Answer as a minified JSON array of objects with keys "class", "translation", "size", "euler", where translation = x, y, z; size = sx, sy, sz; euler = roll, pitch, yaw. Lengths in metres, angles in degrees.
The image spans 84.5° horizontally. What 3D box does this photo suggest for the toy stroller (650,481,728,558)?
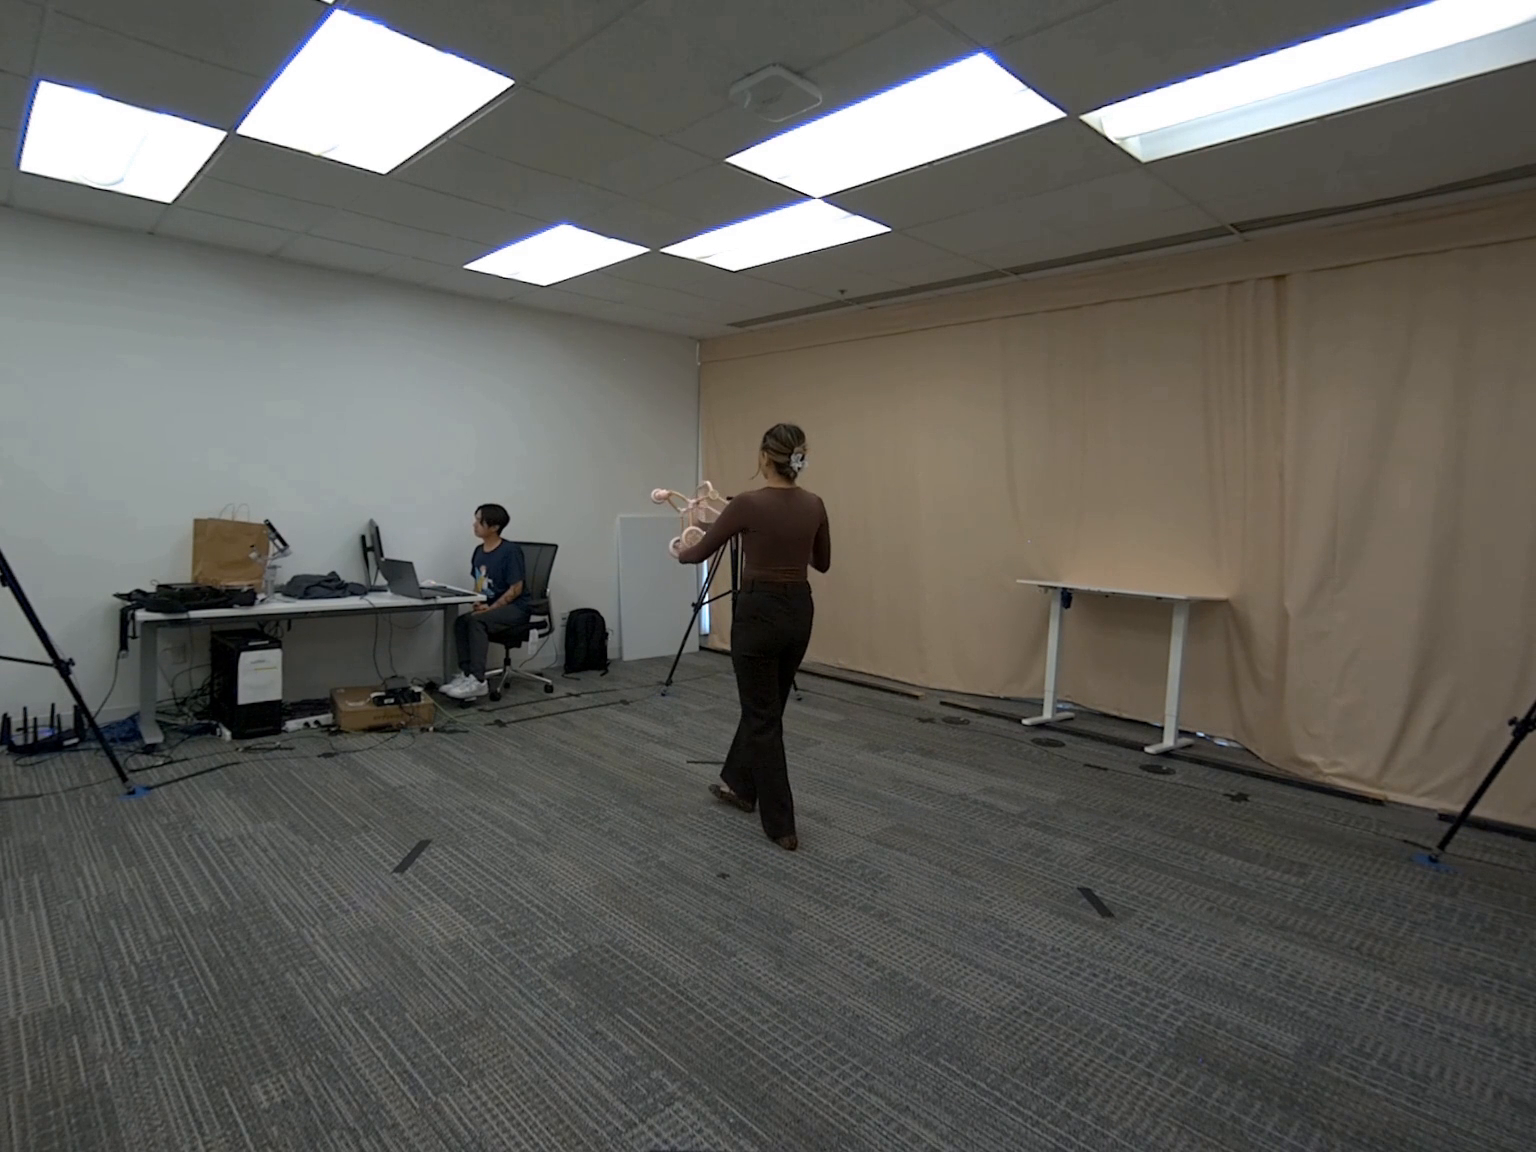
[{"class":"toy stroller","translation":[-0.278,-0.286,3.924],"size":[0.529,0.344,0.282],"euler":[-13,-9,-19]}]
